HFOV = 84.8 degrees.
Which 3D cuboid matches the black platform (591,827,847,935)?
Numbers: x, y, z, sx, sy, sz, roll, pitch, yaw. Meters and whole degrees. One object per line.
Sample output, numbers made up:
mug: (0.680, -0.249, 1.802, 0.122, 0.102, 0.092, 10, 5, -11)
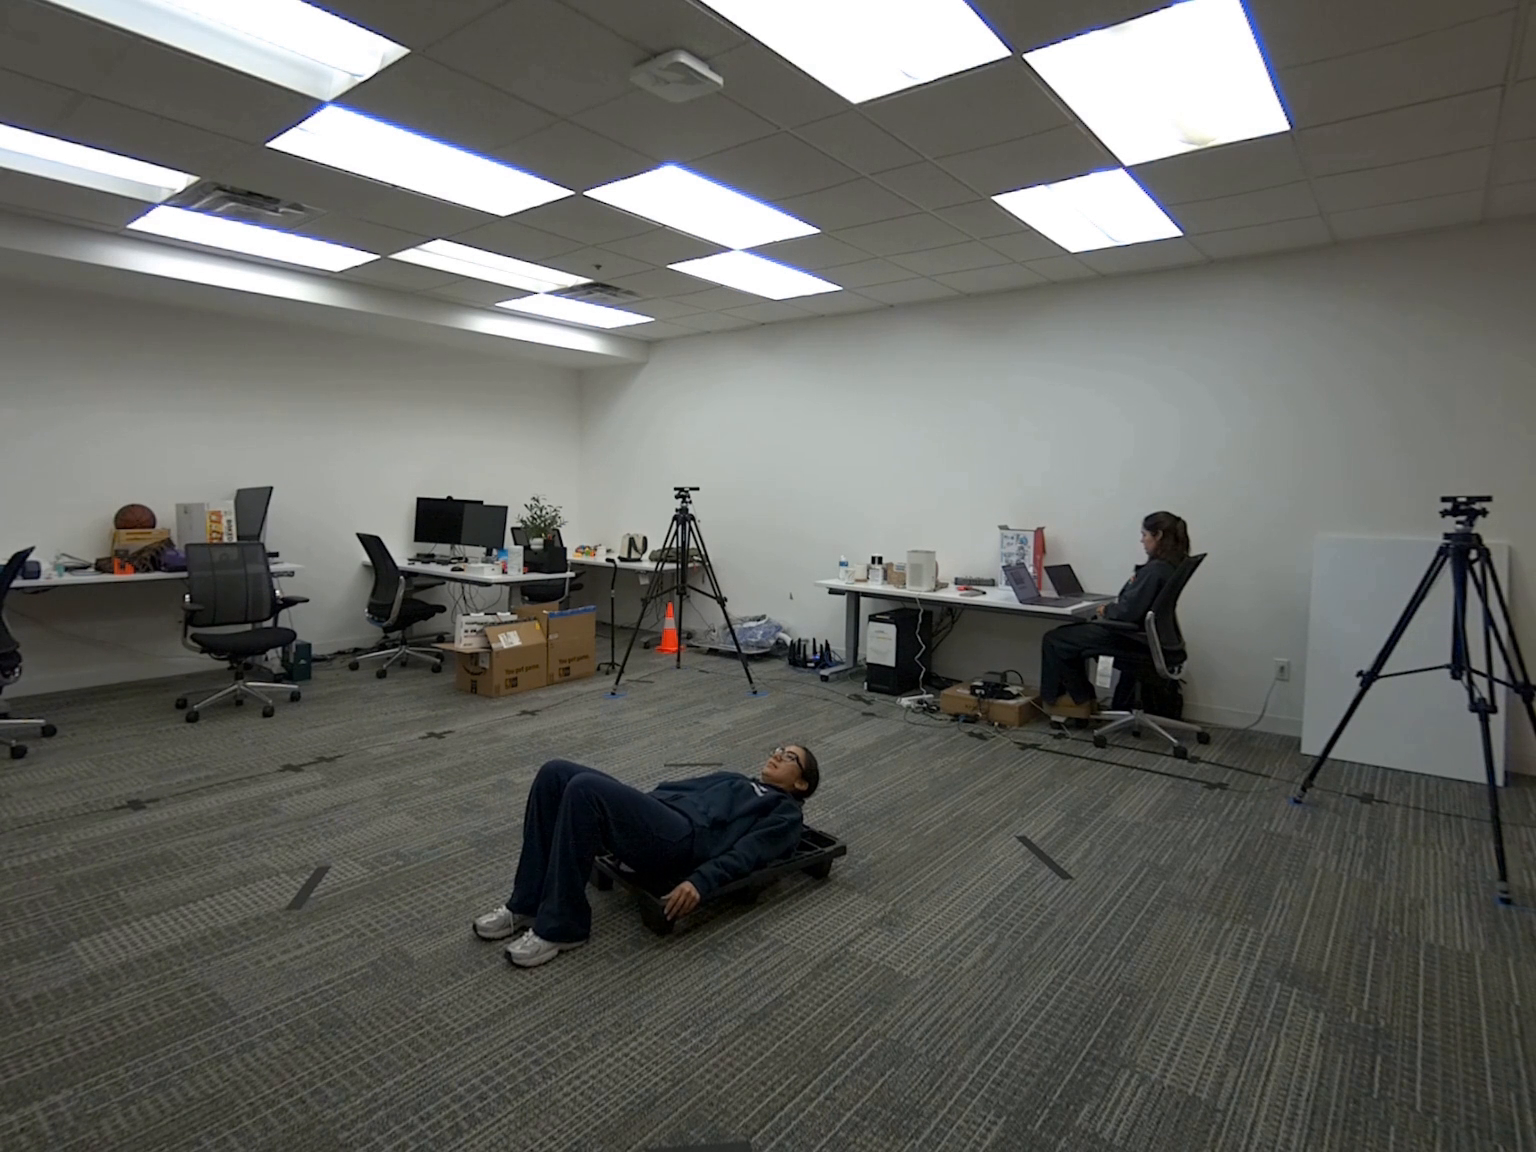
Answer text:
black platform: (-0.205, 1.013, 3.025, 0.782, 0.143, 0.625, -4, 6, -38)
